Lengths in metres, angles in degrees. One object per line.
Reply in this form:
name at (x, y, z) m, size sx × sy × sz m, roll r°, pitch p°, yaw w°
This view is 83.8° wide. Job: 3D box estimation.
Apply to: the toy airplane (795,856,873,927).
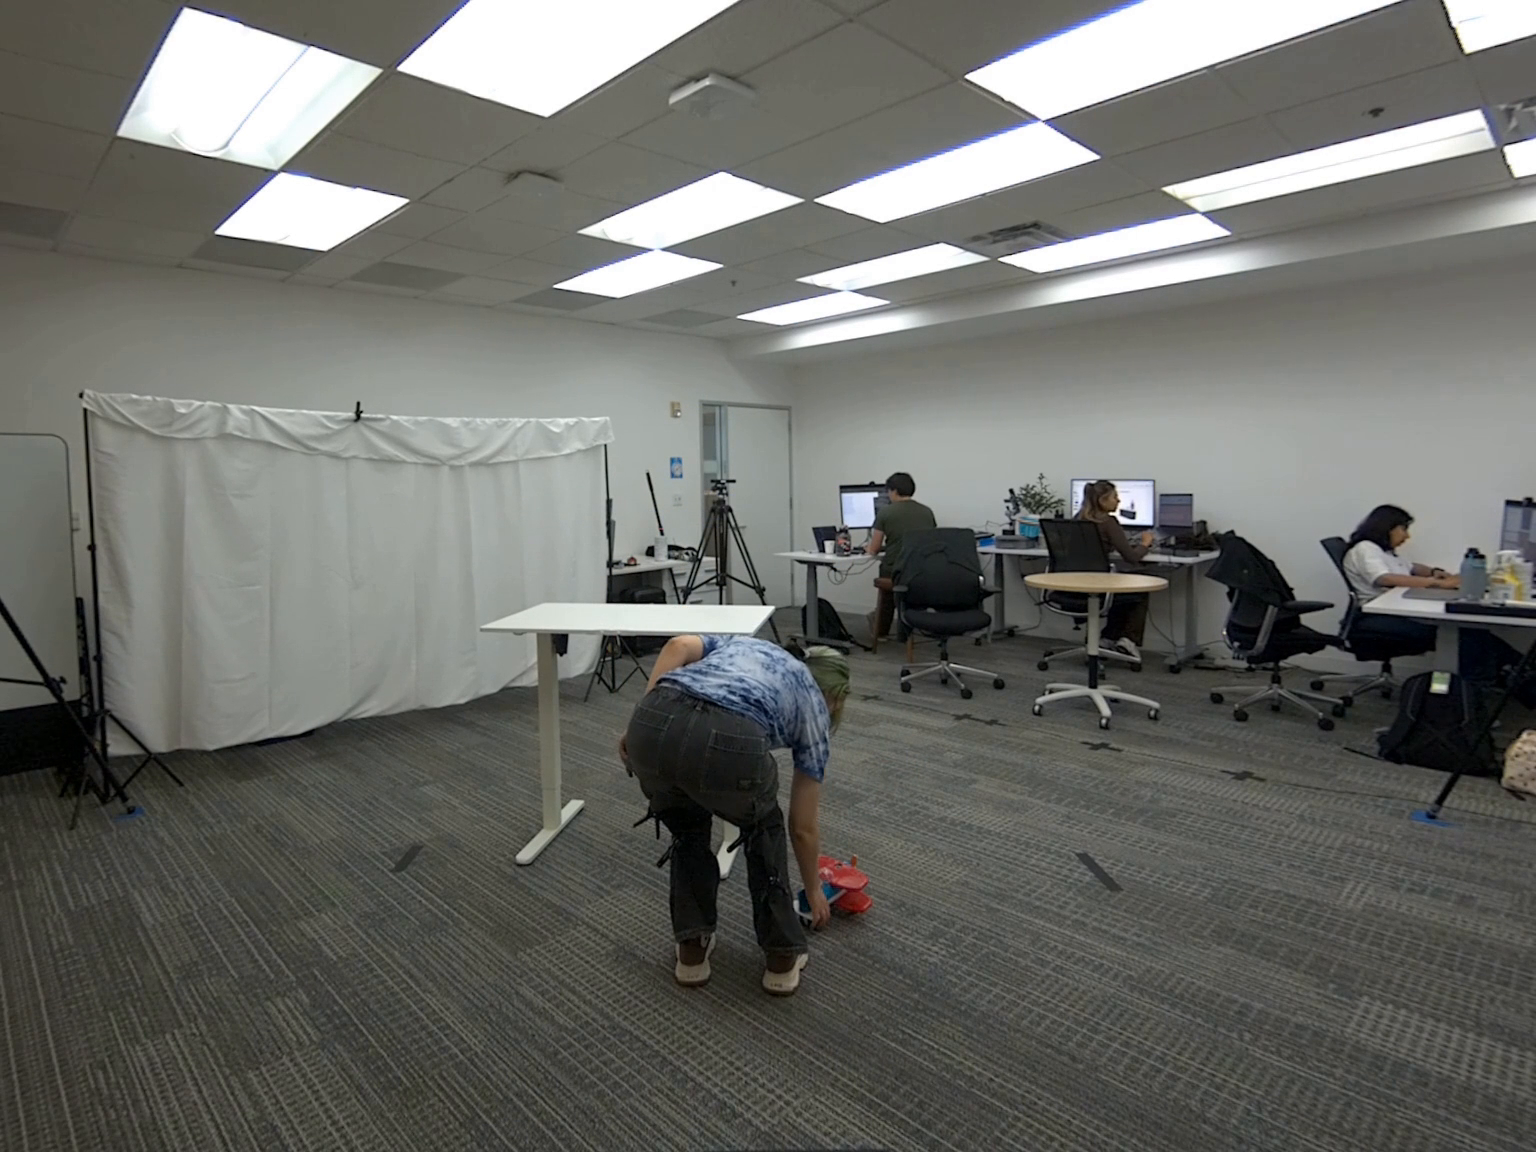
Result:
toy airplane at (0.210, 1.015, 2.708) m, size 0.256 × 0.156 × 0.255 m, roll 0°, pitch 3°, yaw 19°
